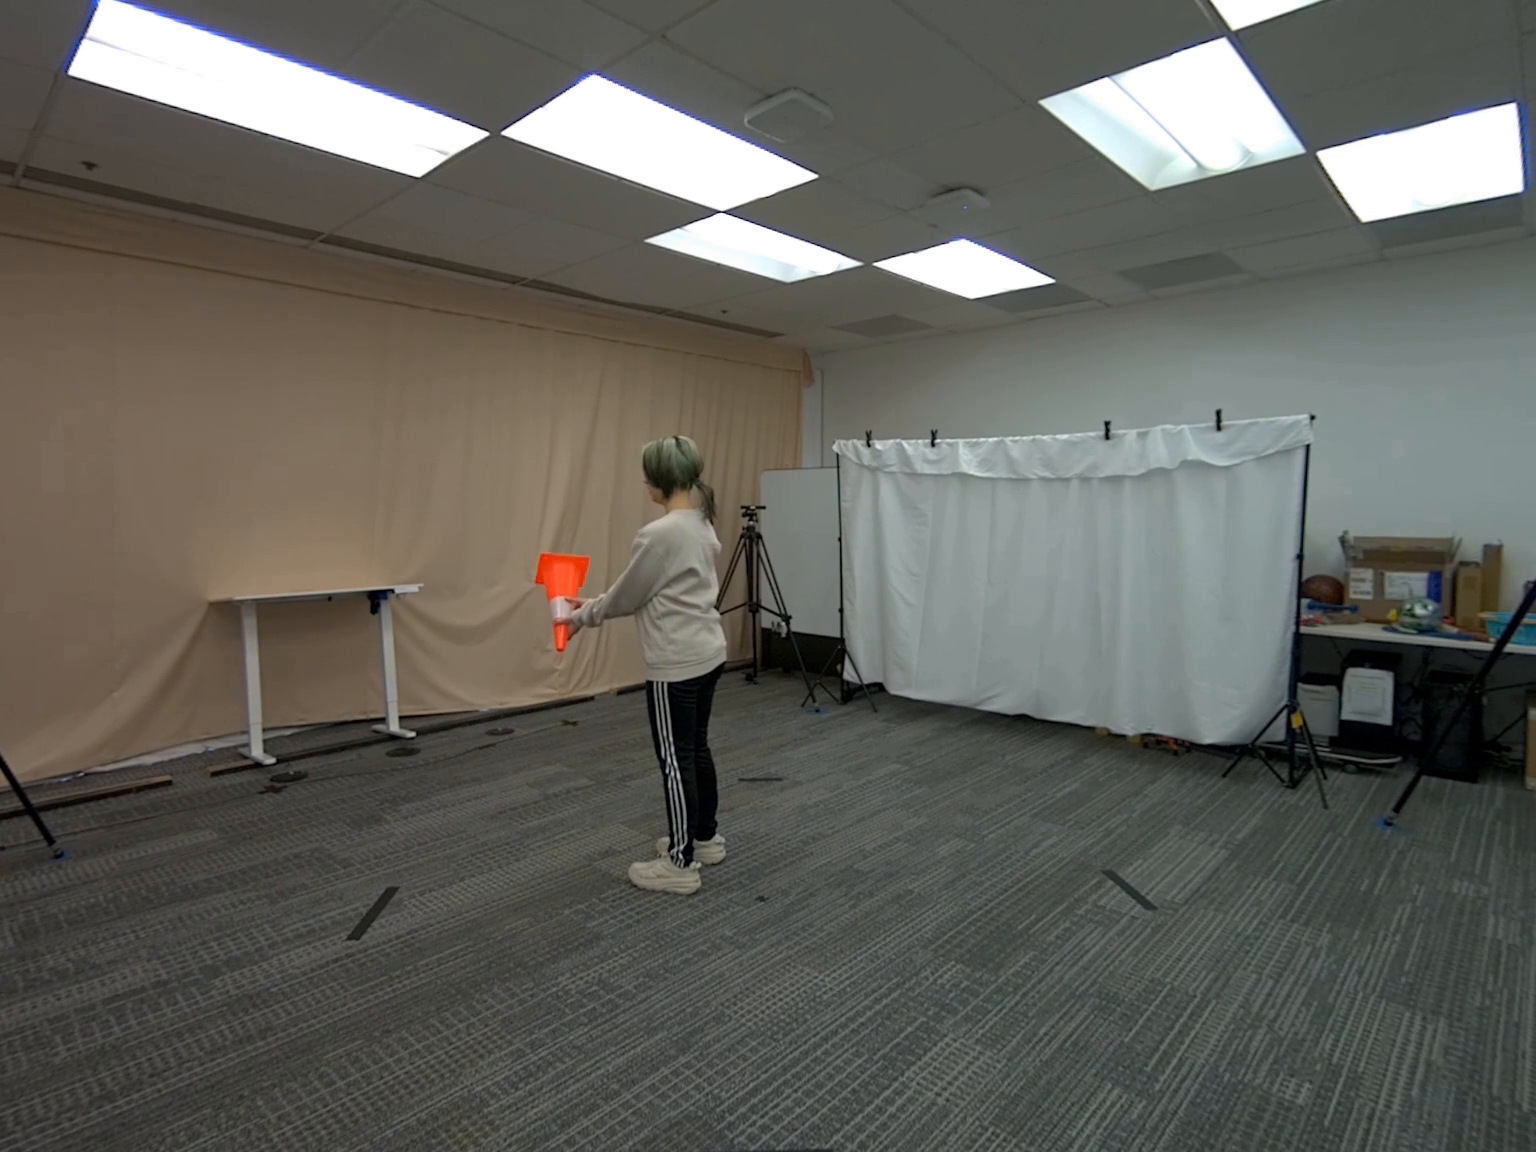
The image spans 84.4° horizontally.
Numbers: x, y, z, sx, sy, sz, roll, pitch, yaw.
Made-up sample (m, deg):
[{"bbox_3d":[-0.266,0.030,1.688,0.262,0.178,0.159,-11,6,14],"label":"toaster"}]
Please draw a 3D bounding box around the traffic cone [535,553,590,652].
[{"bbox_3d":[-0.802,0.136,3.292,0.202,0.392,0.202,3,-39,-15],"label":"traffic cone"}]
